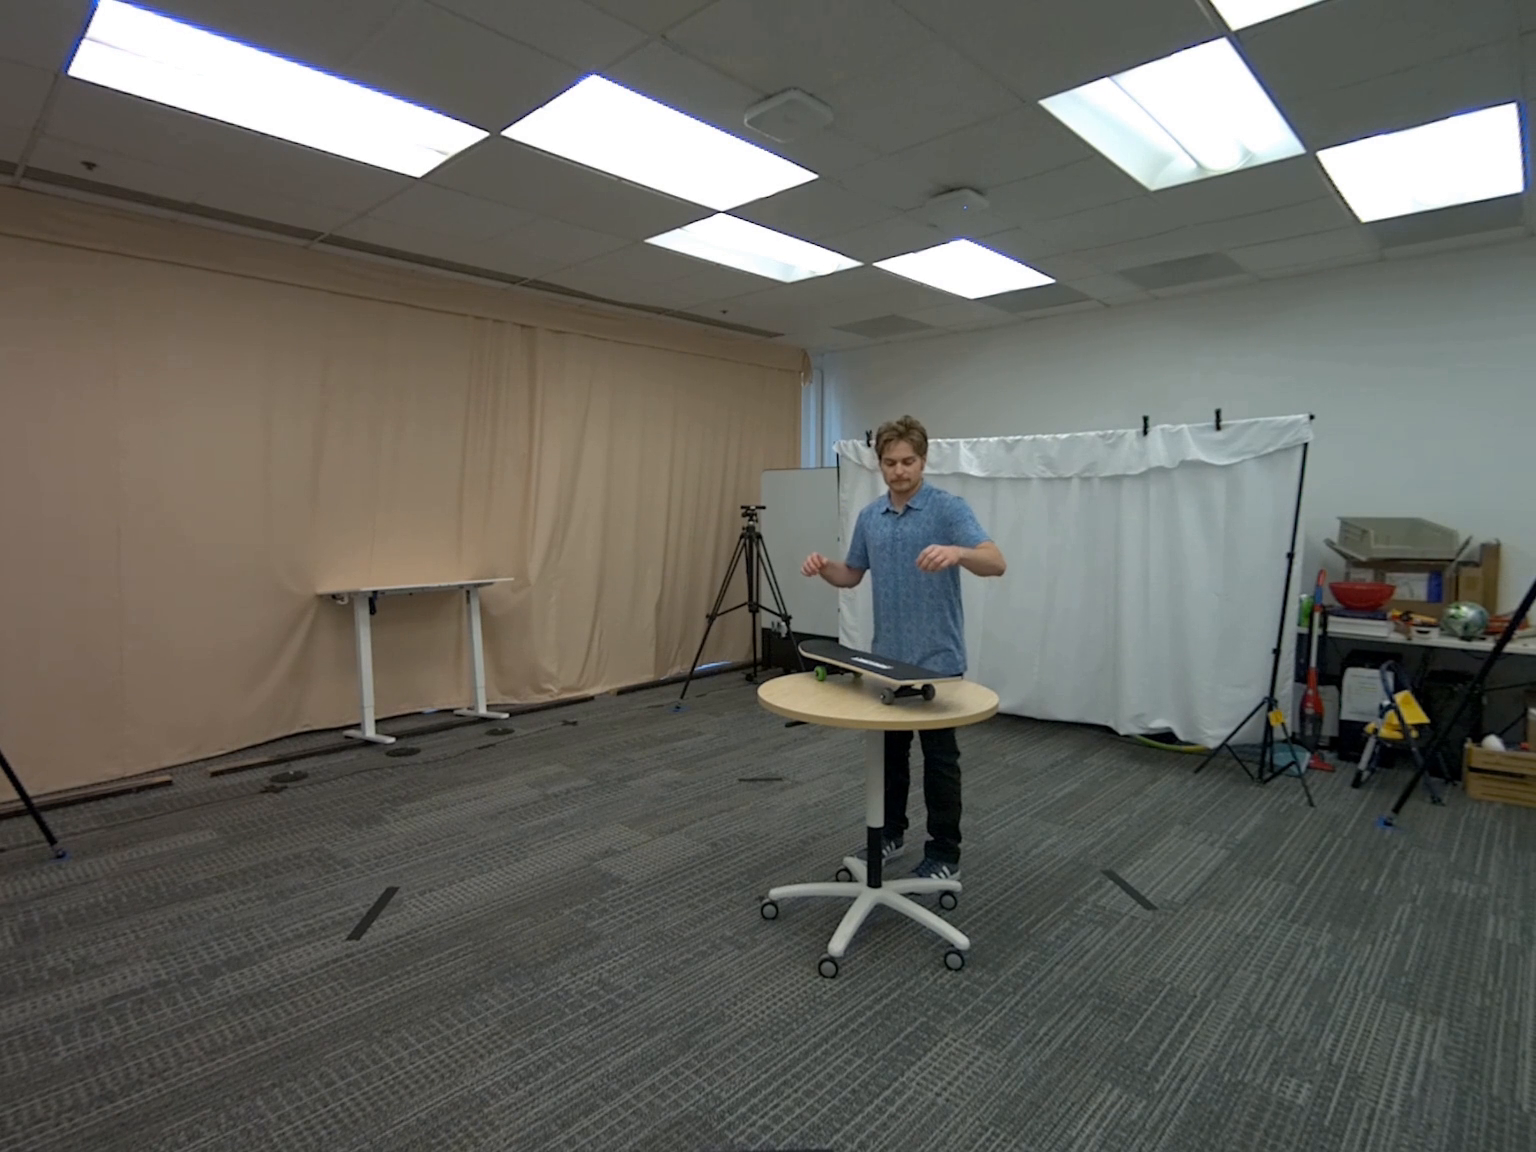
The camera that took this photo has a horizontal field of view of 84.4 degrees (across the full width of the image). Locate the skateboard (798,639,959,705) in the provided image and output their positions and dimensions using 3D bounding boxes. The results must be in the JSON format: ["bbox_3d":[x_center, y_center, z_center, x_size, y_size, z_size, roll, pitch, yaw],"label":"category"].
[{"bbox_3d":[0.348,0.325,2.772,0.189,0.110,0.805,-1,5,-25],"label":"skateboard"}]
